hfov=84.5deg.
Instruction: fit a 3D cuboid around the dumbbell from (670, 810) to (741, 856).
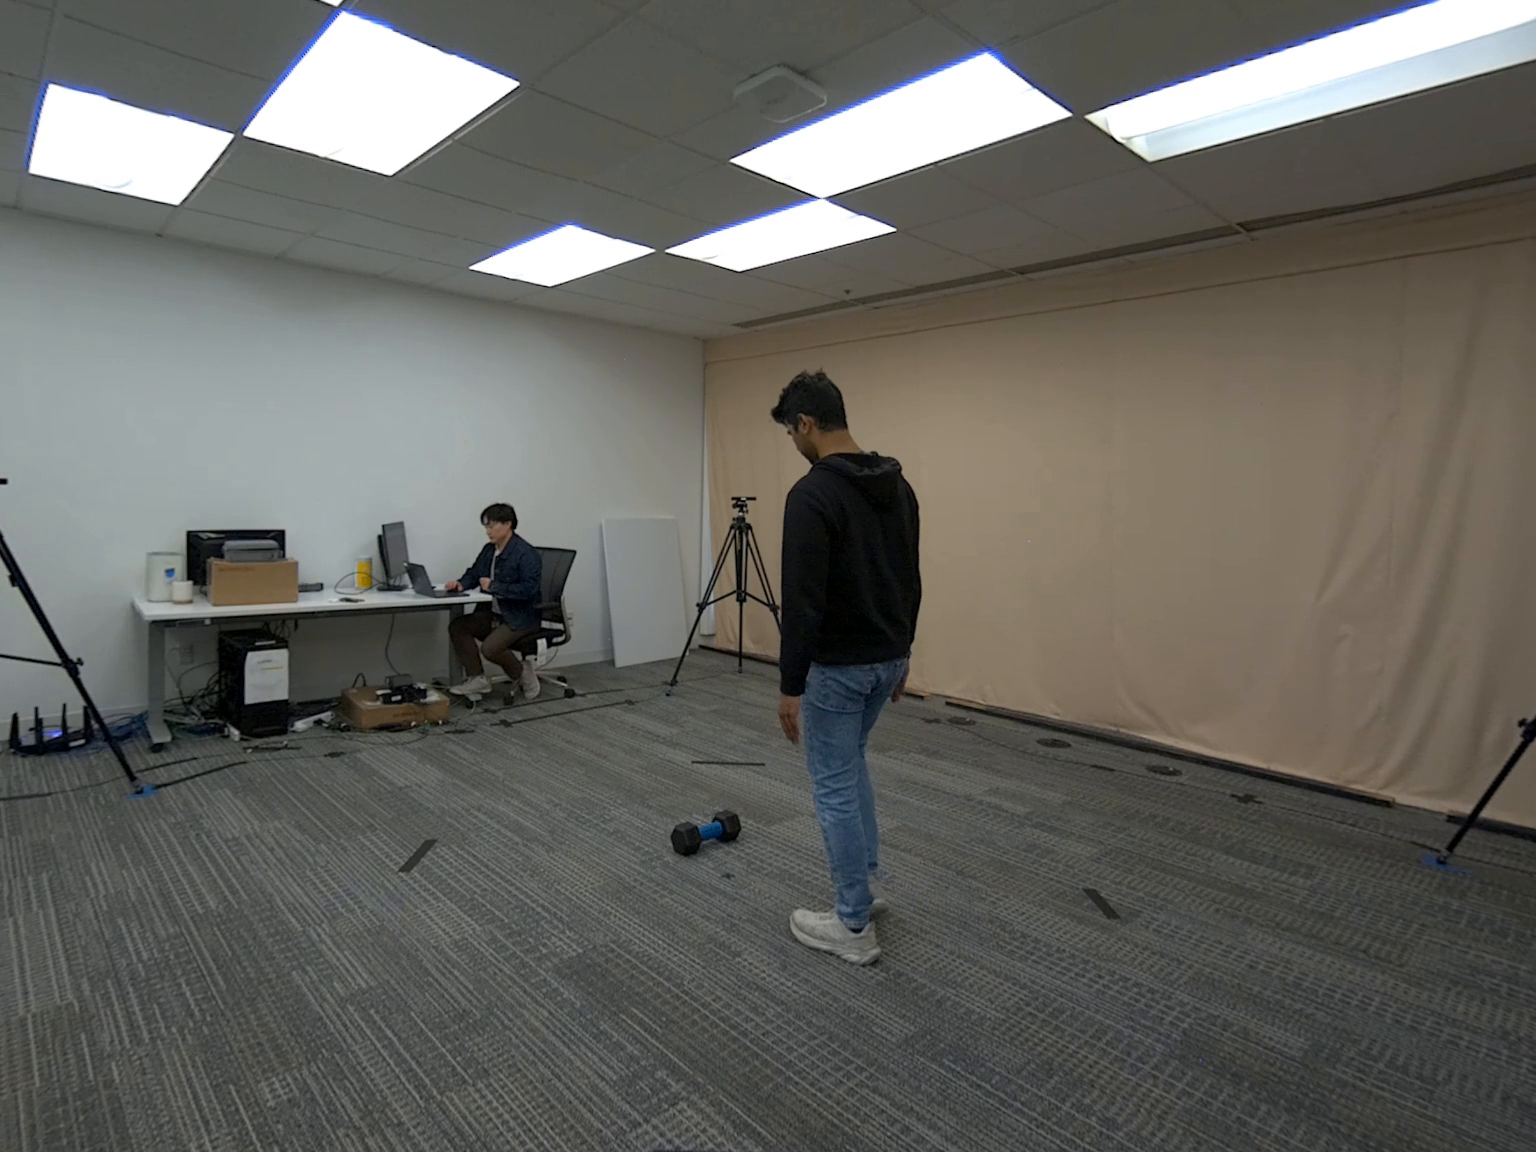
[{"bbox_3d":[-0.255,1.026,3.368,0.287,0.122,0.112,-3,34,-43],"label":"dumbbell"}]
